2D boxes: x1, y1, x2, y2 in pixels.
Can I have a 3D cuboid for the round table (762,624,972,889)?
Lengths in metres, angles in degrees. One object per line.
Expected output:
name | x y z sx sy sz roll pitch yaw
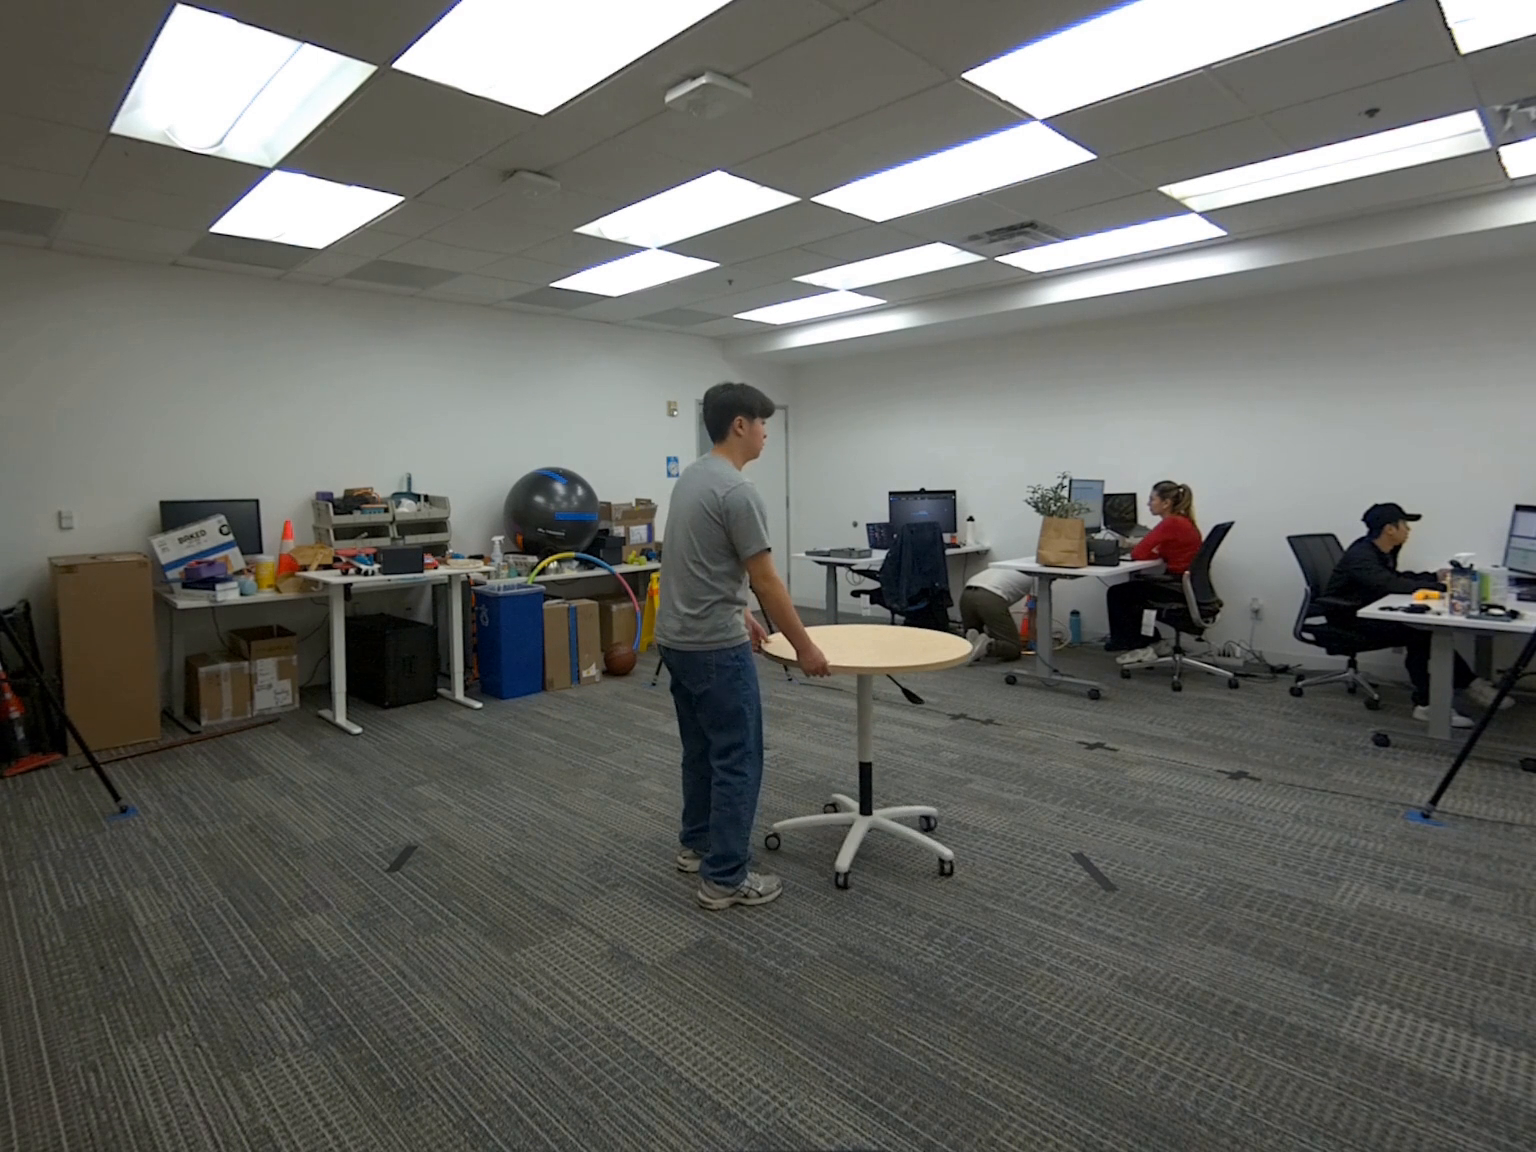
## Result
round table | 0.358 0.641 3.171 0.763 0.791 0.768 -1 5 -2
